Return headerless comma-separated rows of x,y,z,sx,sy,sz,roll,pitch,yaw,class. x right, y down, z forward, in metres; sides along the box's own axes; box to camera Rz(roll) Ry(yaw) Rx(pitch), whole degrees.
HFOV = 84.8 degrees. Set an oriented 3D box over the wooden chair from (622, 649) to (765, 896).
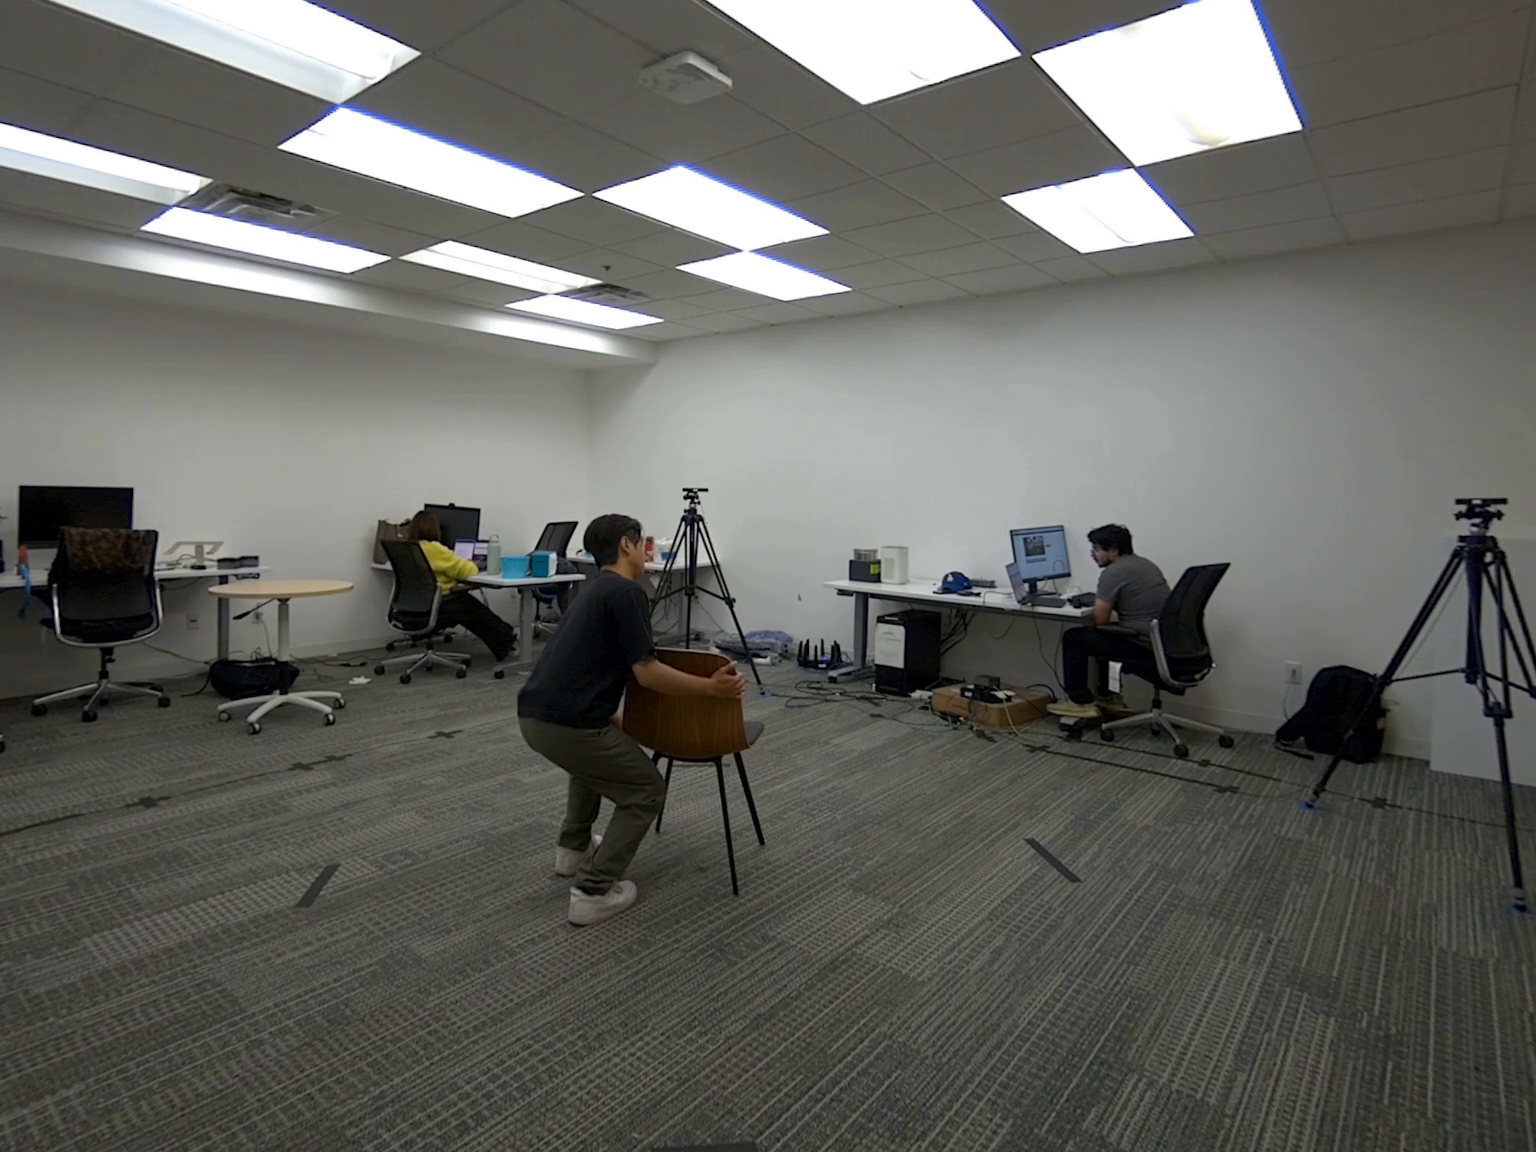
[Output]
-0.277,0.637,3.160,0.485,0.871,0.519,1,7,13,wooden chair
